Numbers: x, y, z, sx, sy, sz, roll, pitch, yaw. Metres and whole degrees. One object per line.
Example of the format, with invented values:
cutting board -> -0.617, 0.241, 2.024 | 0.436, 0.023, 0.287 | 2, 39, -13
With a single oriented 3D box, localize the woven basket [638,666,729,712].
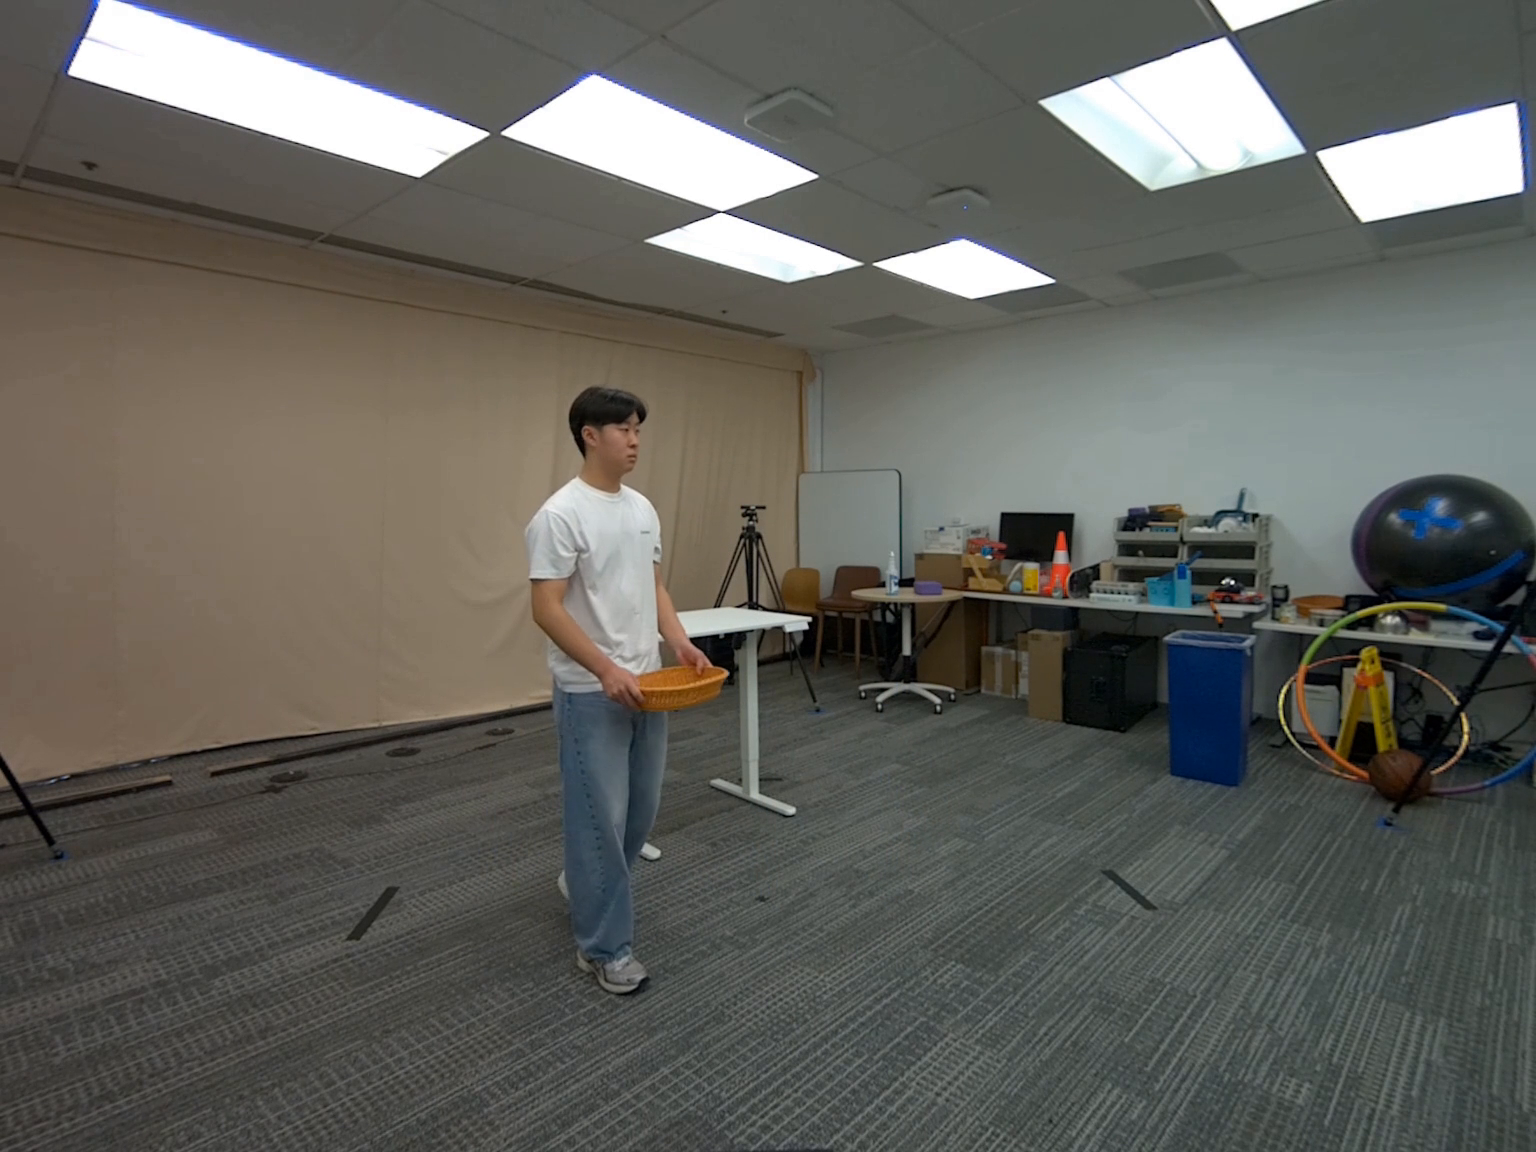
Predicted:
woven basket -> -0.295, 0.331, 2.403 | 0.340, 0.073, 0.261 | -5, 6, -41
